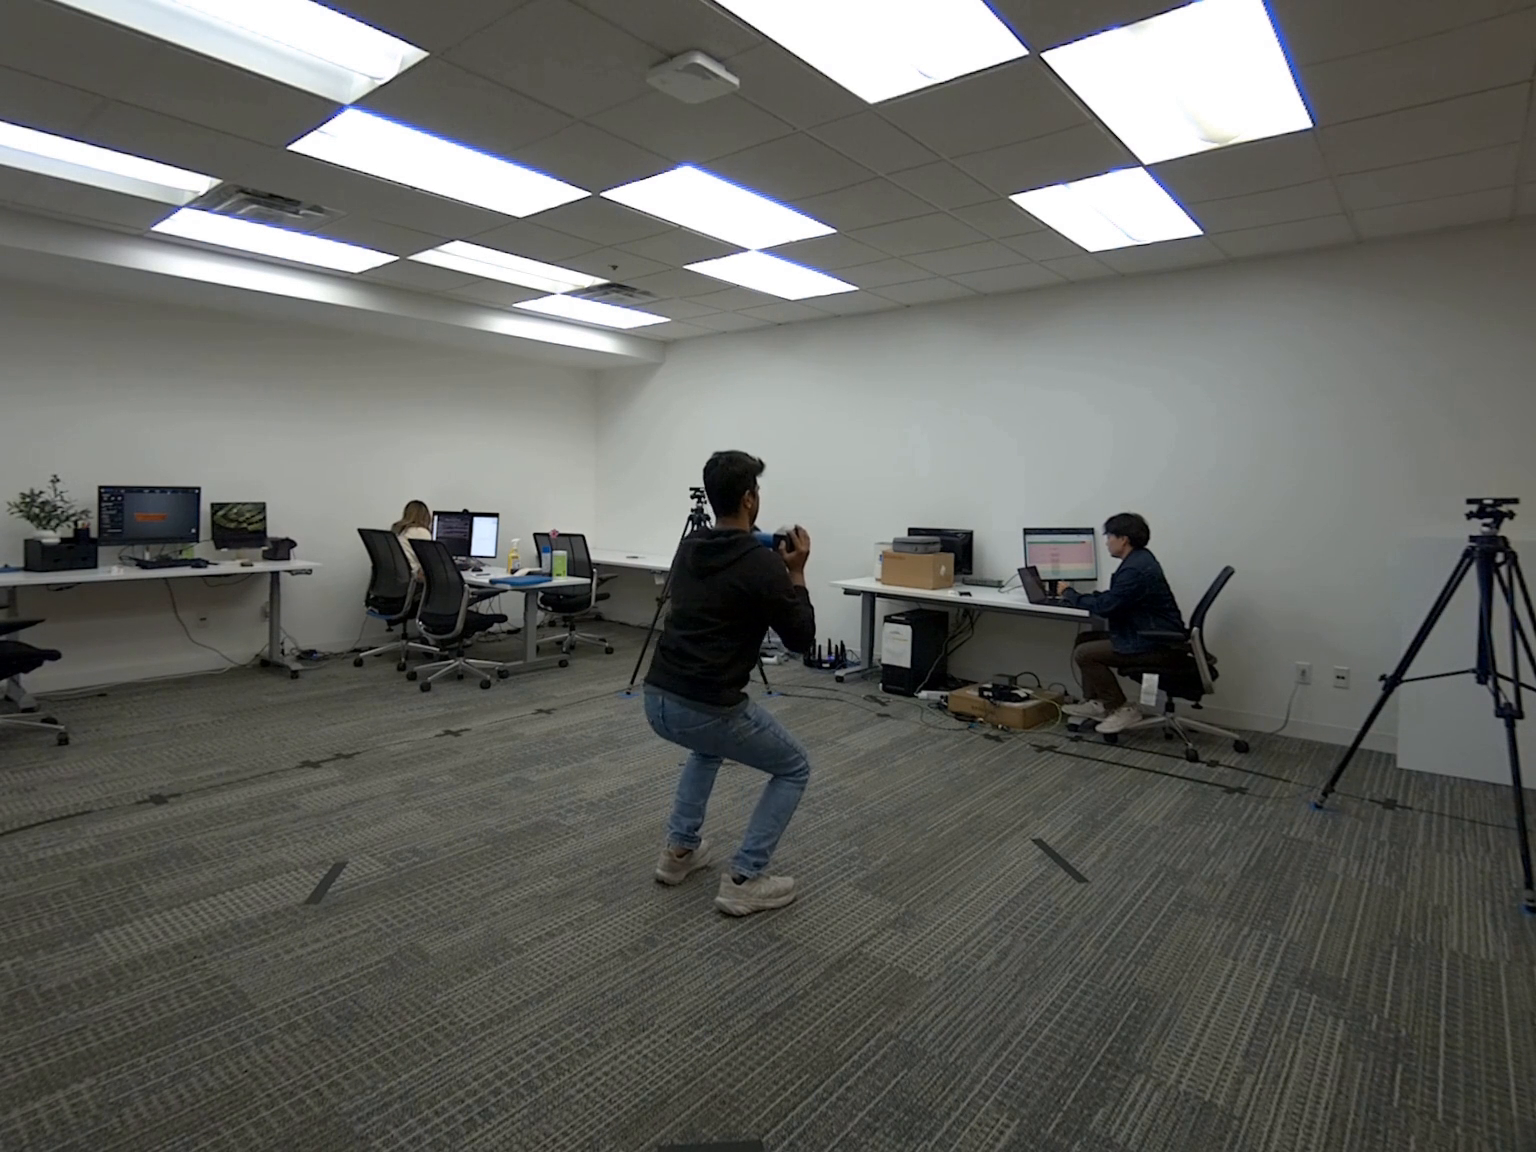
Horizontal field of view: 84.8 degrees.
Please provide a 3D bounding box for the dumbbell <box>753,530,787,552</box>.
[{"bbox_3d":[-0.017,-0.130,3.096,0.105,0.122,0.304,0,6,-45],"label":"dumbbell"}]
